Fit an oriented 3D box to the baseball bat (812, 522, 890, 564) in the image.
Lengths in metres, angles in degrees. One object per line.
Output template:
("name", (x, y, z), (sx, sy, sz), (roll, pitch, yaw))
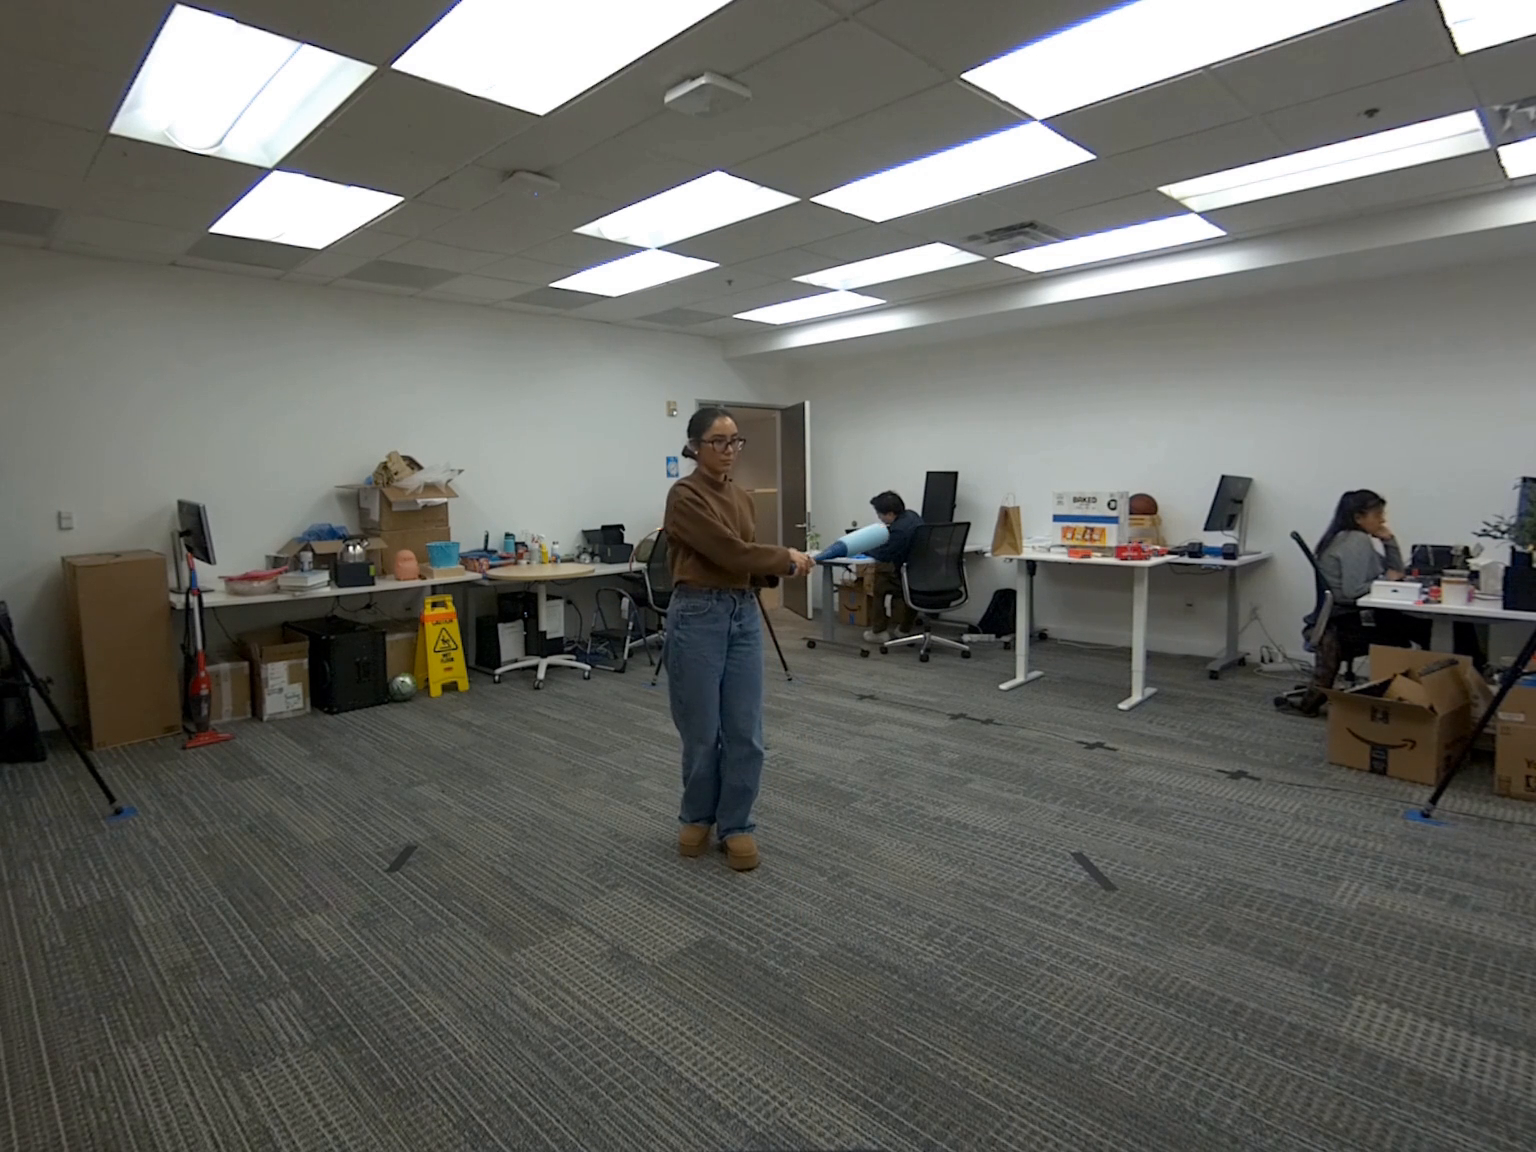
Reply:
("baseball bat", (0.249, -0.096, 3.169), (0.533, 0.088, 0.092), (-21, 17, -38))
